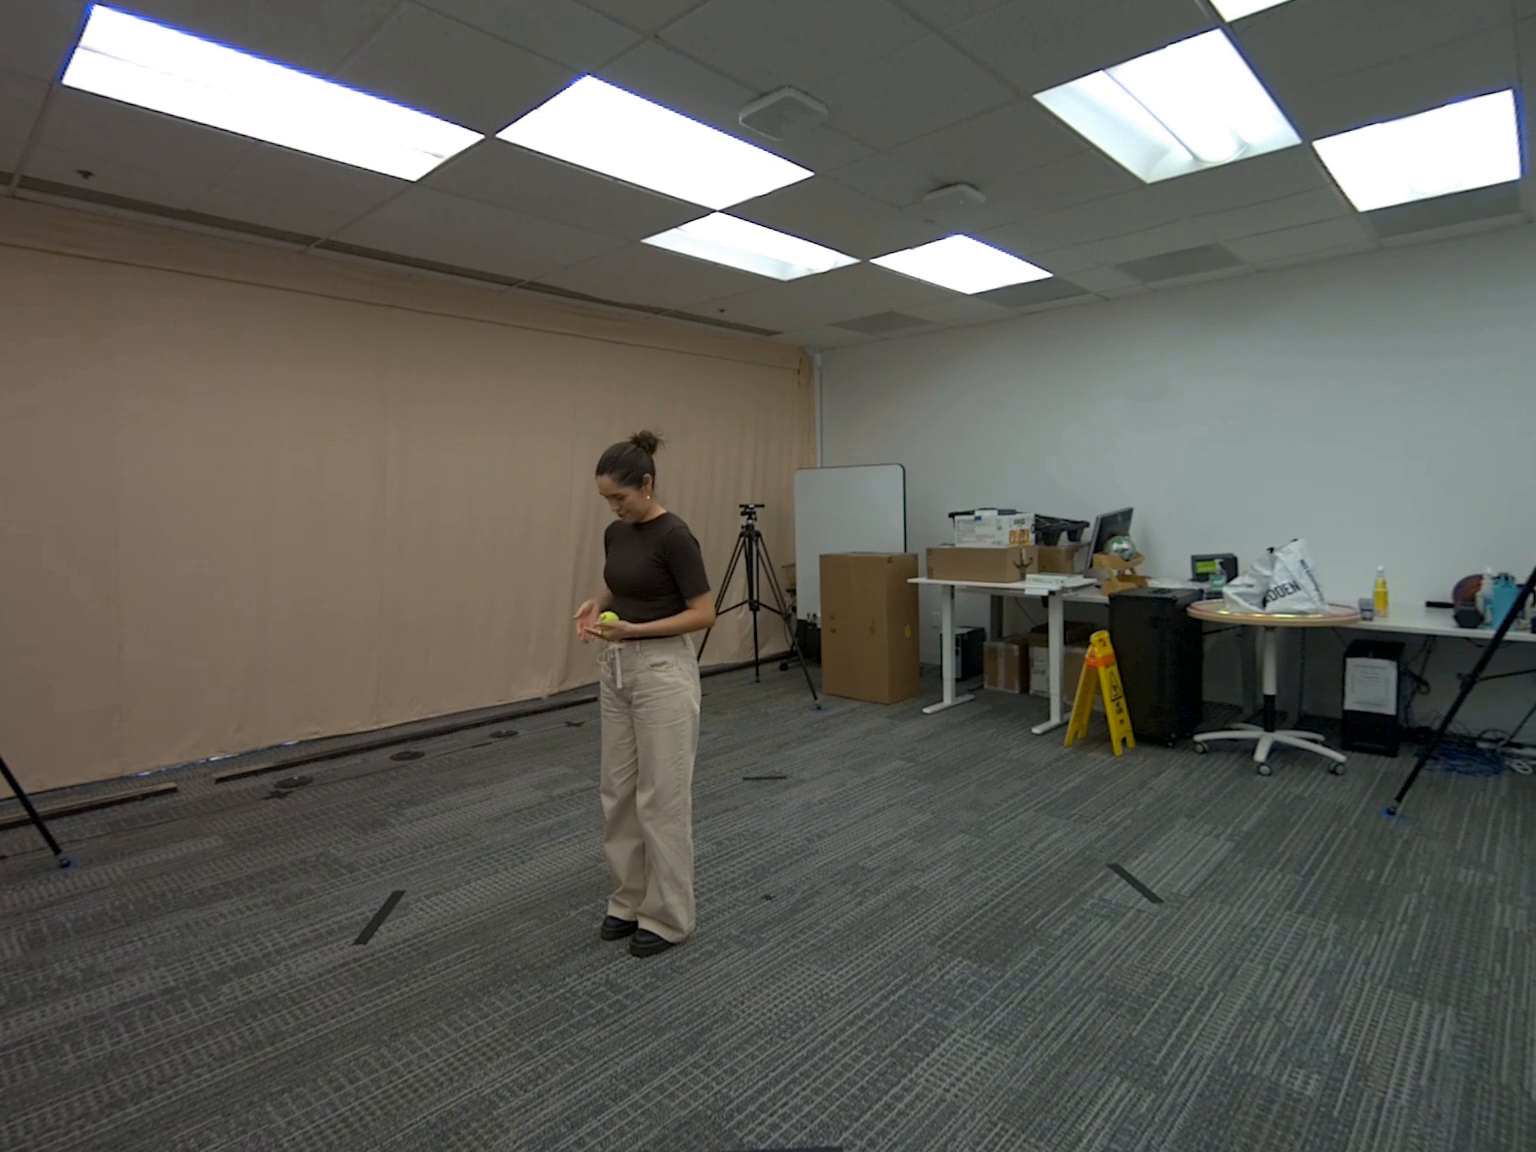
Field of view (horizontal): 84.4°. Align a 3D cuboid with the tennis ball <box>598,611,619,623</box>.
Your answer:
[{"bbox_3d":[-0.490,0.144,2.616,0.066,0.066,0.067,-1,4,-2],"label":"tennis ball"}]
